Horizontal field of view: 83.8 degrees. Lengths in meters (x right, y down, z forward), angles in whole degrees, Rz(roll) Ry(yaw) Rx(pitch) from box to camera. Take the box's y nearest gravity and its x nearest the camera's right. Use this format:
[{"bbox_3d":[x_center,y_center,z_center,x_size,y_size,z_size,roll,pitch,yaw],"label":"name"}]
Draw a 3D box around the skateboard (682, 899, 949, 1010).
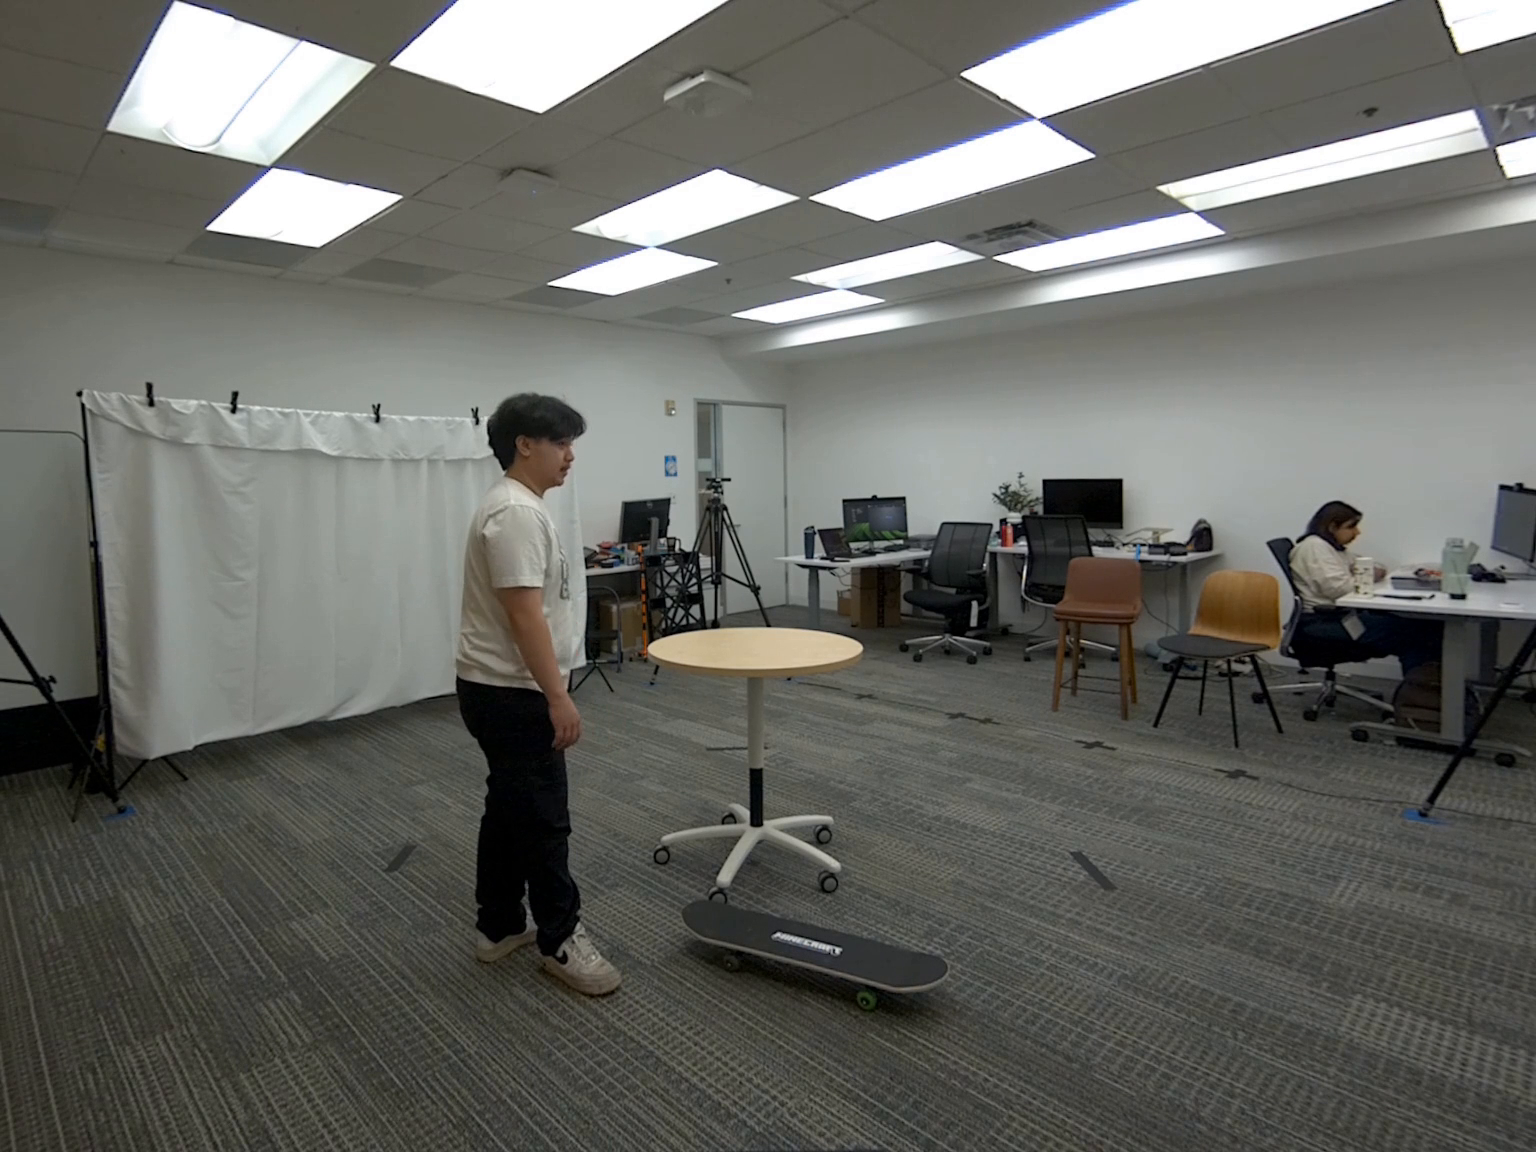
[{"bbox_3d":[0.113,1.064,2.403,0.804,0.110,0.190,2,7,27],"label":"skateboard"}]
